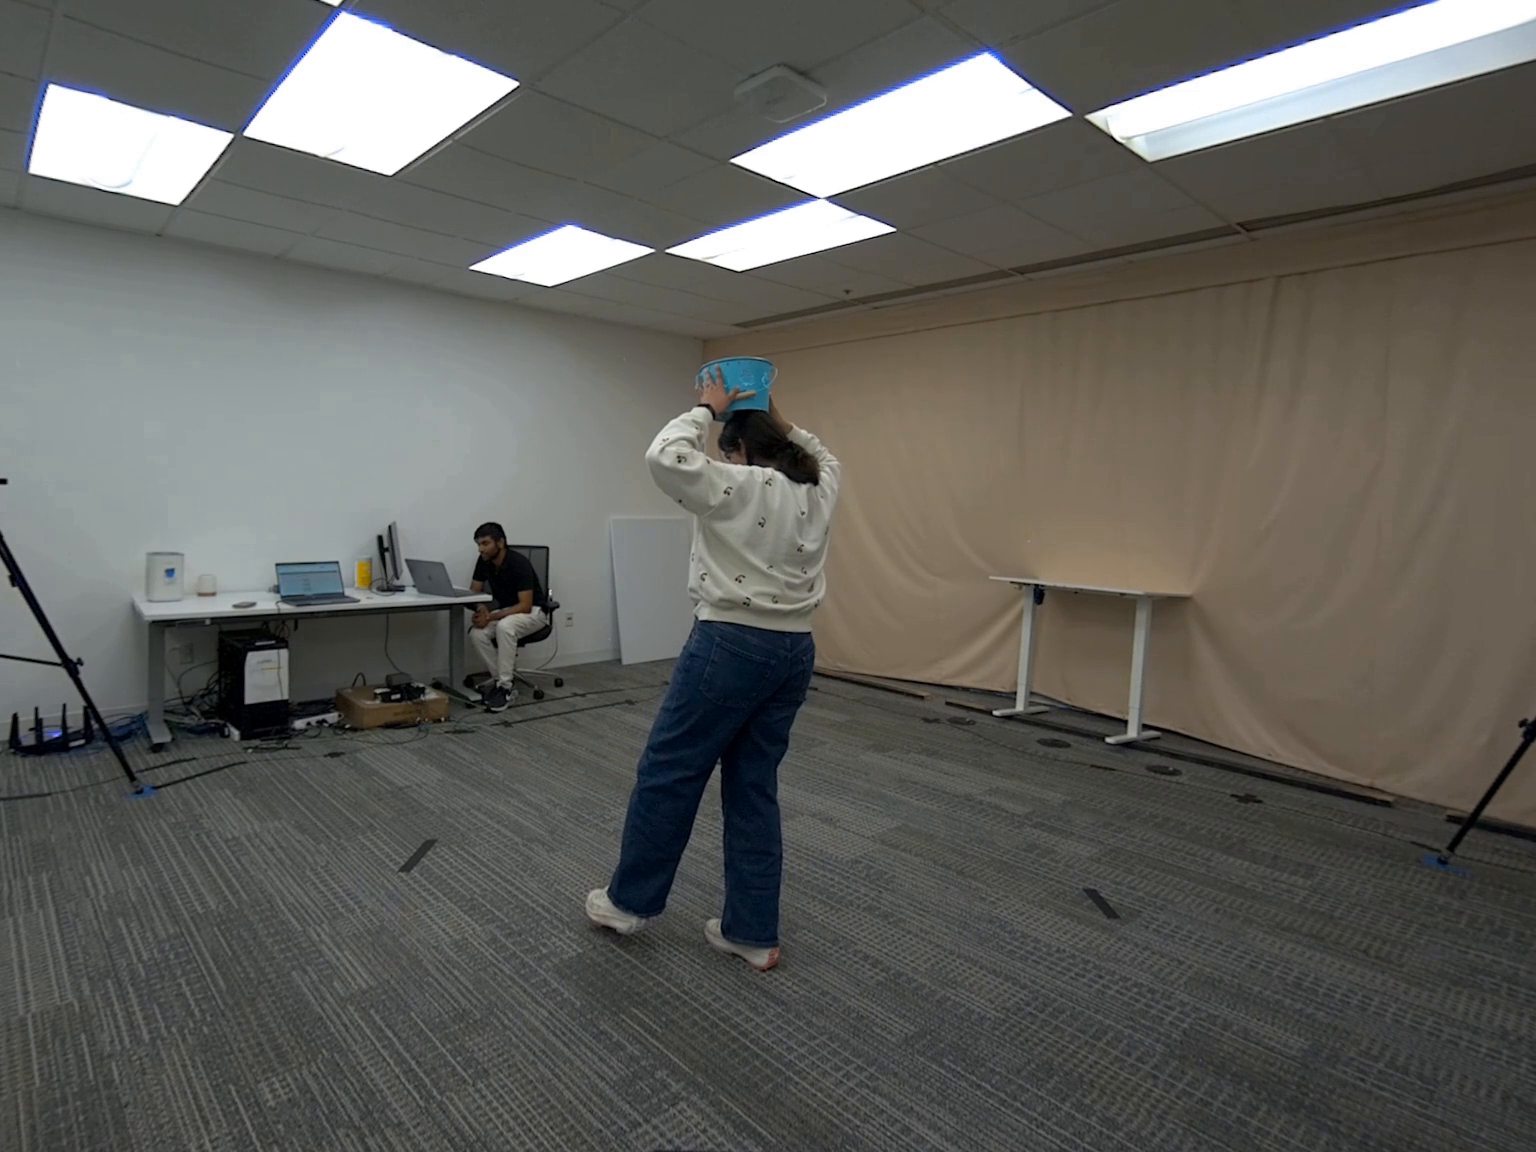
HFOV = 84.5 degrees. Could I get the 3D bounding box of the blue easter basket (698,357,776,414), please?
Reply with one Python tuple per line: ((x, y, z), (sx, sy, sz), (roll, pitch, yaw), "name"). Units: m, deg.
((-0.102, -0.571, 2.607), (0.243, 0.156, 0.243), (-3, -3, -2), "blue easter basket")
